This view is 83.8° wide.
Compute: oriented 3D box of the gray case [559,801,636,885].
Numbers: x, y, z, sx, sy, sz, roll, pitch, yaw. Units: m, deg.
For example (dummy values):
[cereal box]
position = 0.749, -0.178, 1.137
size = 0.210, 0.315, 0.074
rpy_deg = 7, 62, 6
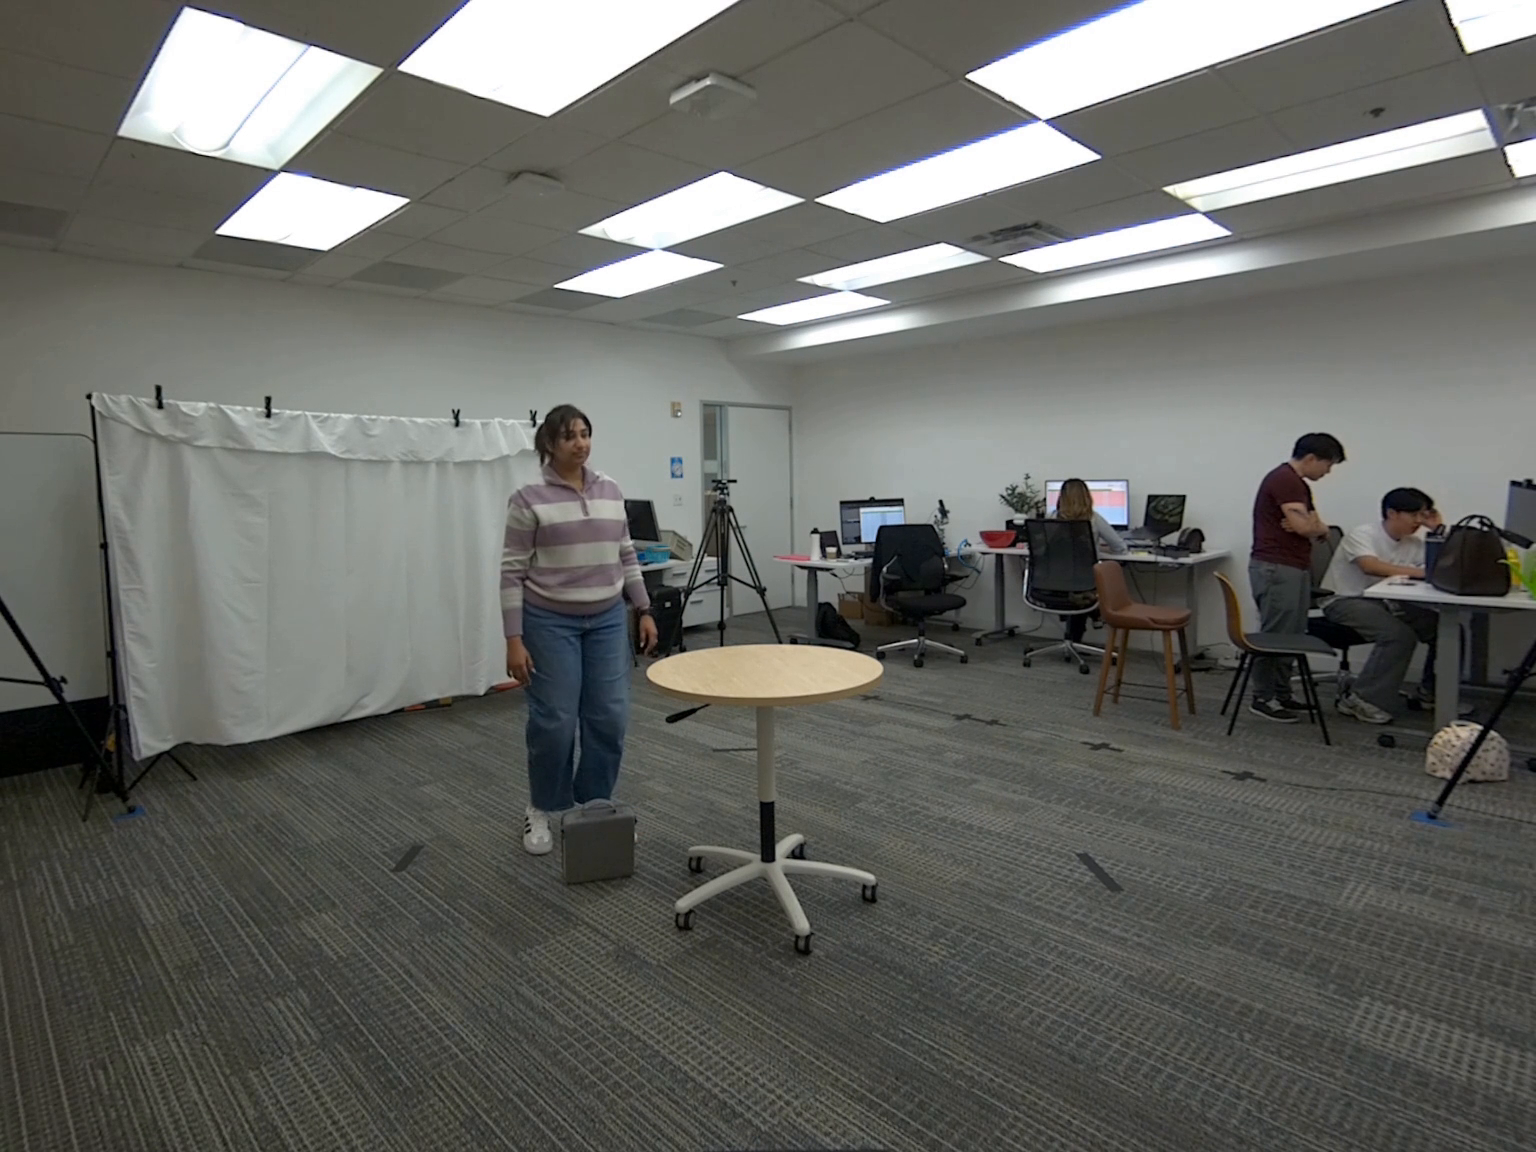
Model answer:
[gray case]
position = -0.592, 0.934, 3.015
size = 0.253, 0.258, 0.107
rpy_deg = -2, 13, -16
